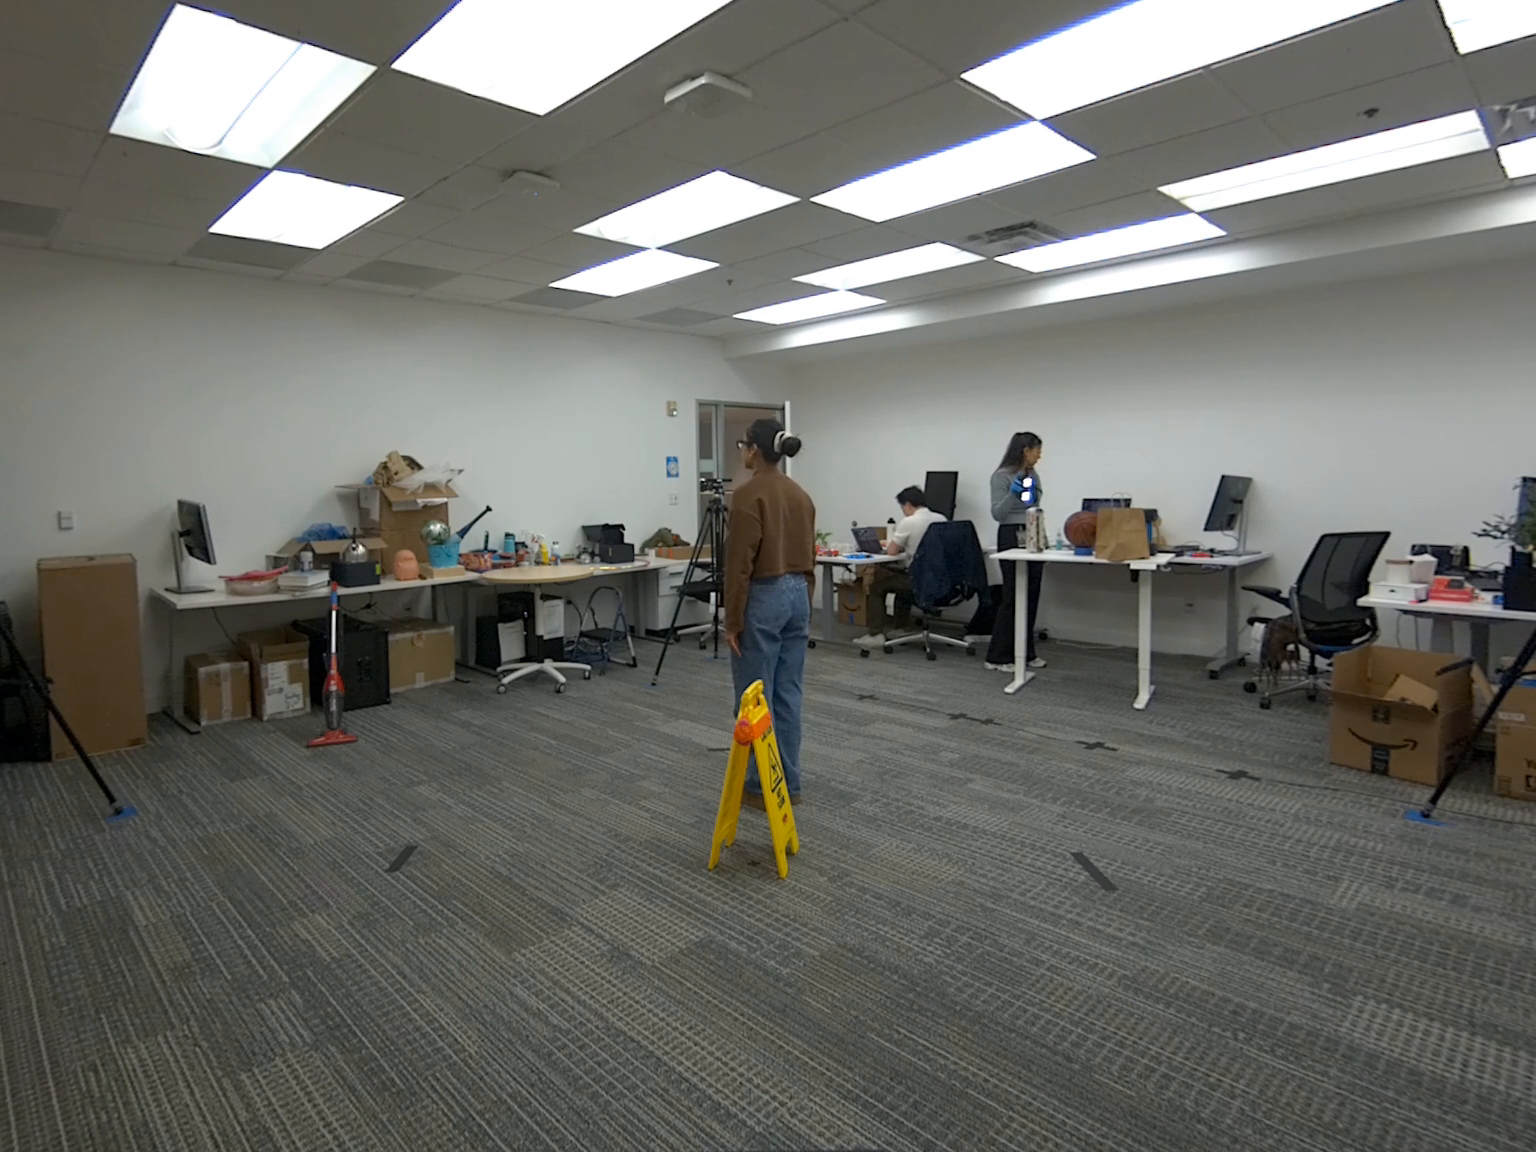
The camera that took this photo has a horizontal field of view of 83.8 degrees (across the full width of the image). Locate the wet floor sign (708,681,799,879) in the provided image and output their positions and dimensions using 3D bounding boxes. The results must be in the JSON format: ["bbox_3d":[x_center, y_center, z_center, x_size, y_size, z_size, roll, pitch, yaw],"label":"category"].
[{"bbox_3d":[-0.057,0.723,3.126,0.294,0.644,0.279,0,3,15],"label":"wet floor sign"}]
